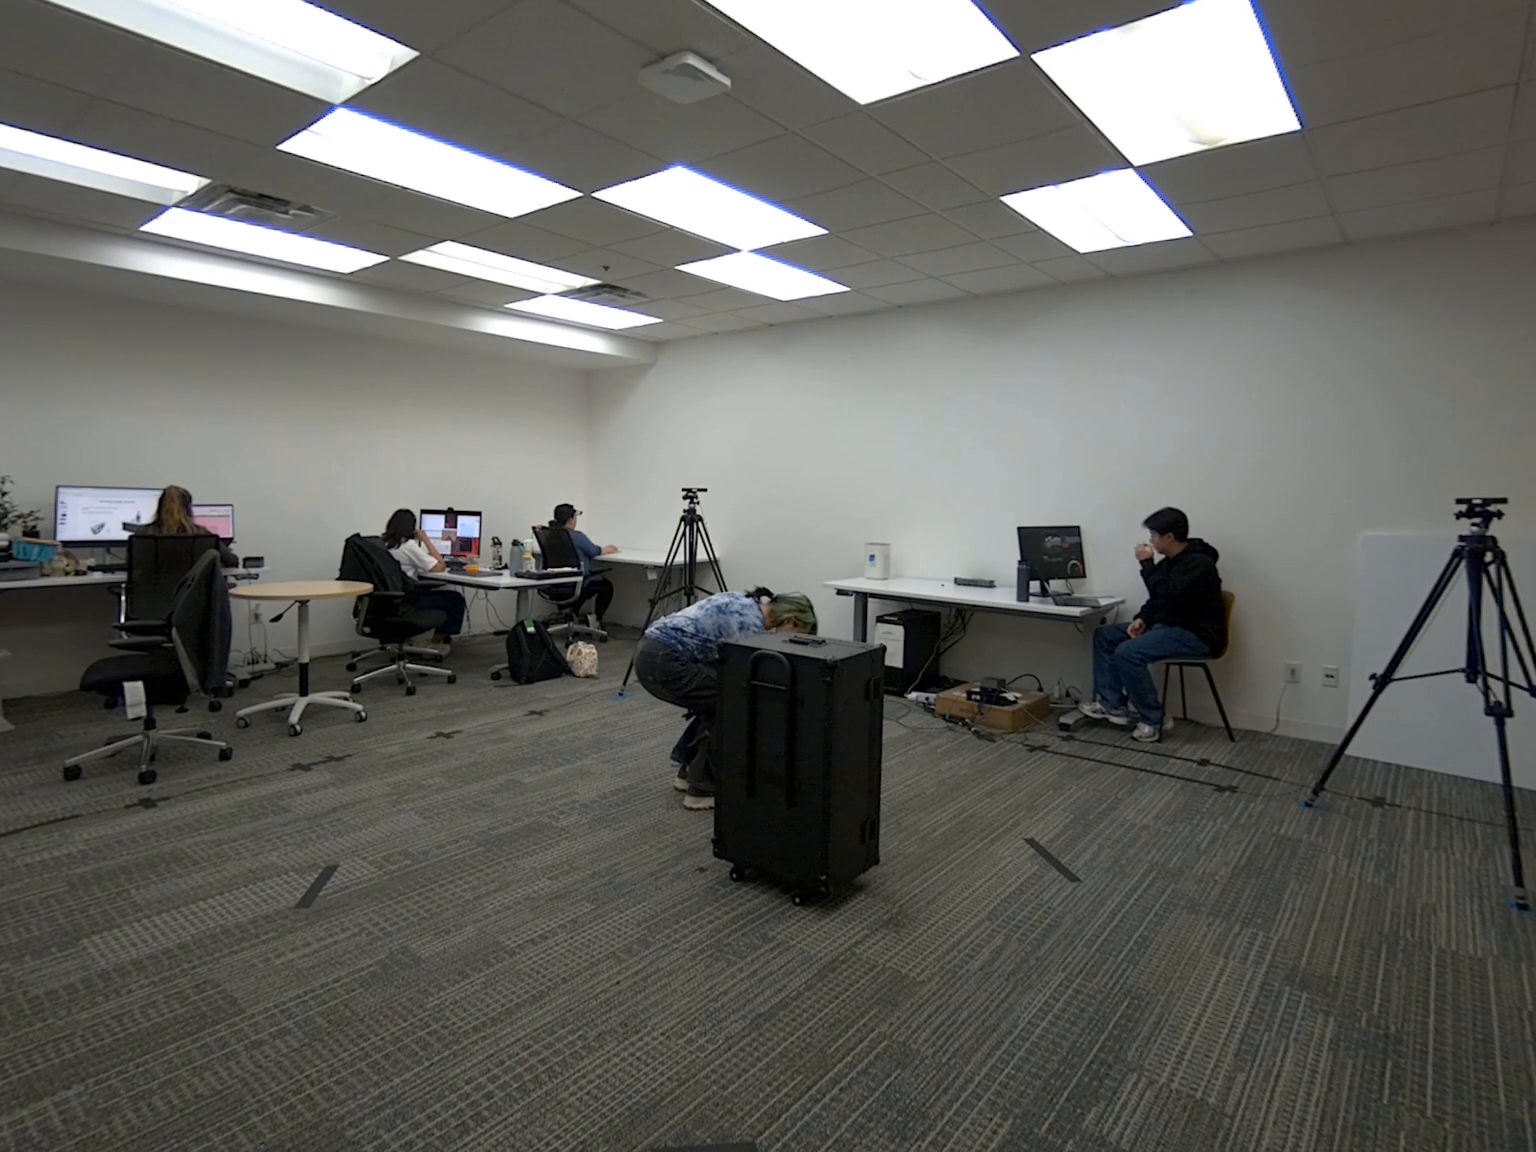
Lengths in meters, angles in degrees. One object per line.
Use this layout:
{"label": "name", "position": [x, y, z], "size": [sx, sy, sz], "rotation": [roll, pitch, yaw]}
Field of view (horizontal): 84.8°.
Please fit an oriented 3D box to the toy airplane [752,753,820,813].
{"label": "toy airplane", "position": [0.076, 0.932, 3.810], "size": [0.249, 0.156, 0.262], "rotation": [-3, 6, -8]}
